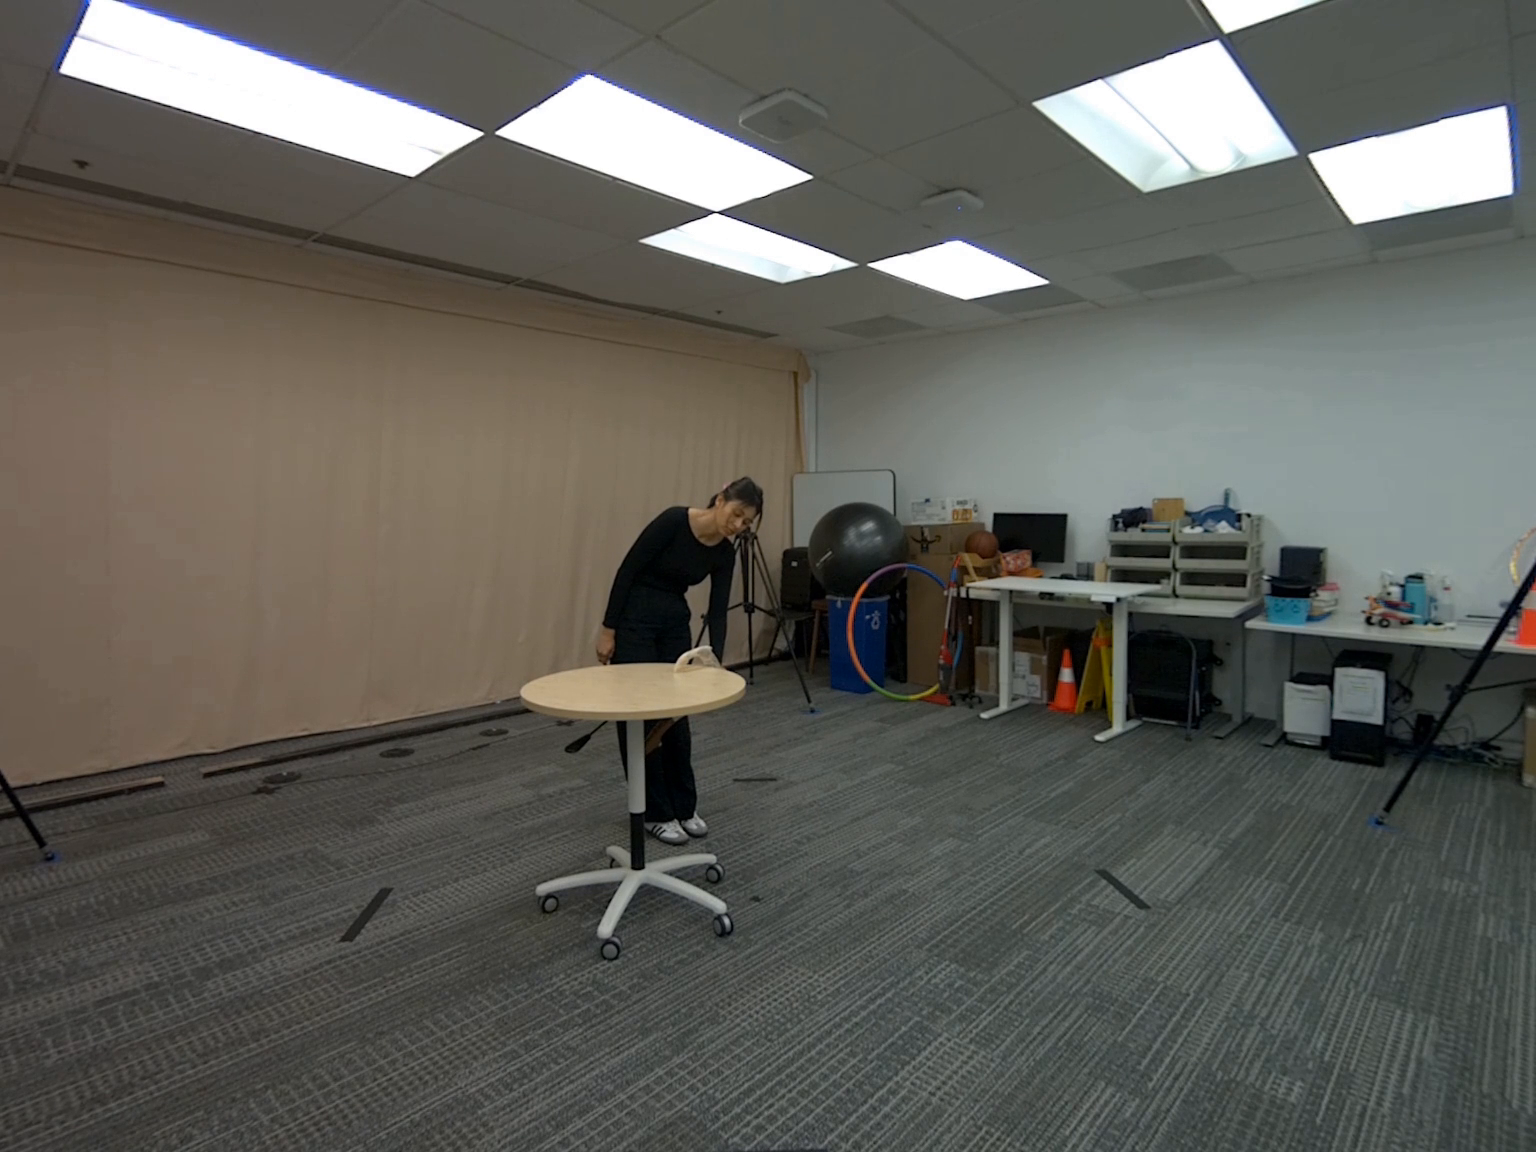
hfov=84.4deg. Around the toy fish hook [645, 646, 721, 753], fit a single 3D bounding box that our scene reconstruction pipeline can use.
[{"bbox_3d":[-0.341,0.452,3.097,0.050,0.219,0.502,2,37,41],"label":"toy fish hook"}]
